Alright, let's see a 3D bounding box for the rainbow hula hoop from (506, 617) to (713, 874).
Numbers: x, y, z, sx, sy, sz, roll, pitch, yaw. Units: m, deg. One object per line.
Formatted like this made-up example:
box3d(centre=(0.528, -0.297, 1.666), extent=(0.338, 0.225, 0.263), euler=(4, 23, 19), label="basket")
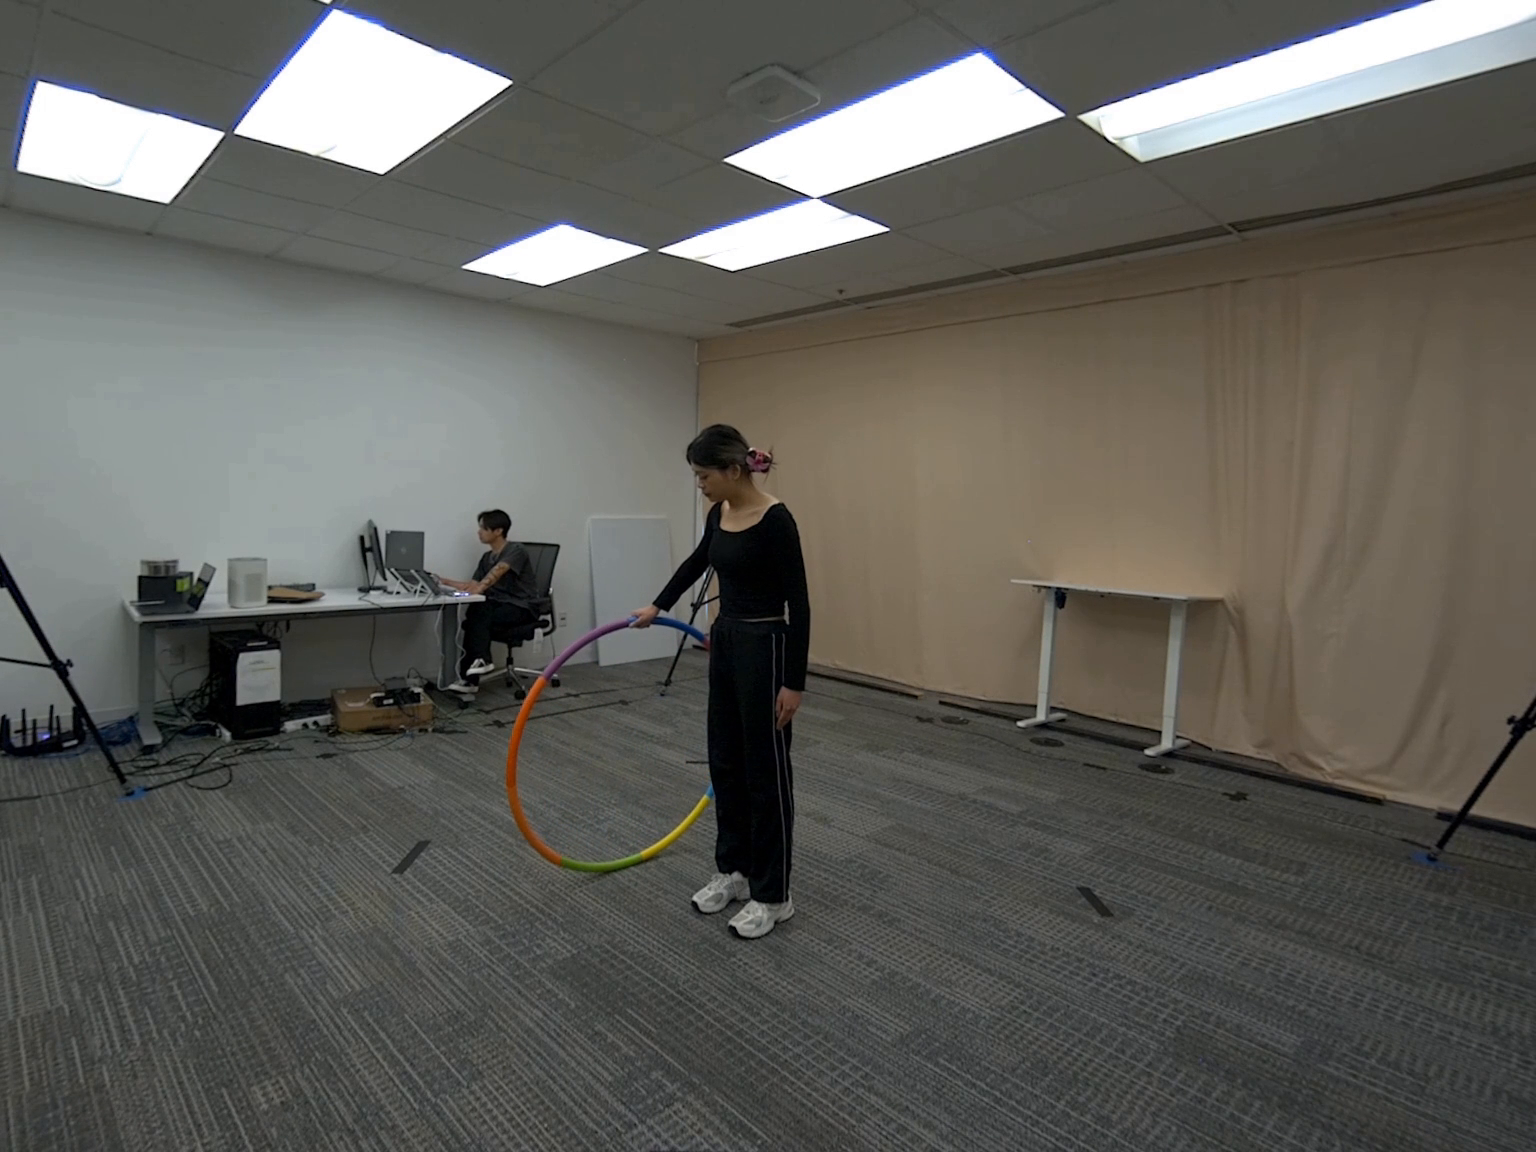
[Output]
box3d(centre=(-0.500, 0.620, 3.117), extent=(0.956, 0.974, 0.036), euler=(-2, 10, -42), label="rainbow hula hoop")
